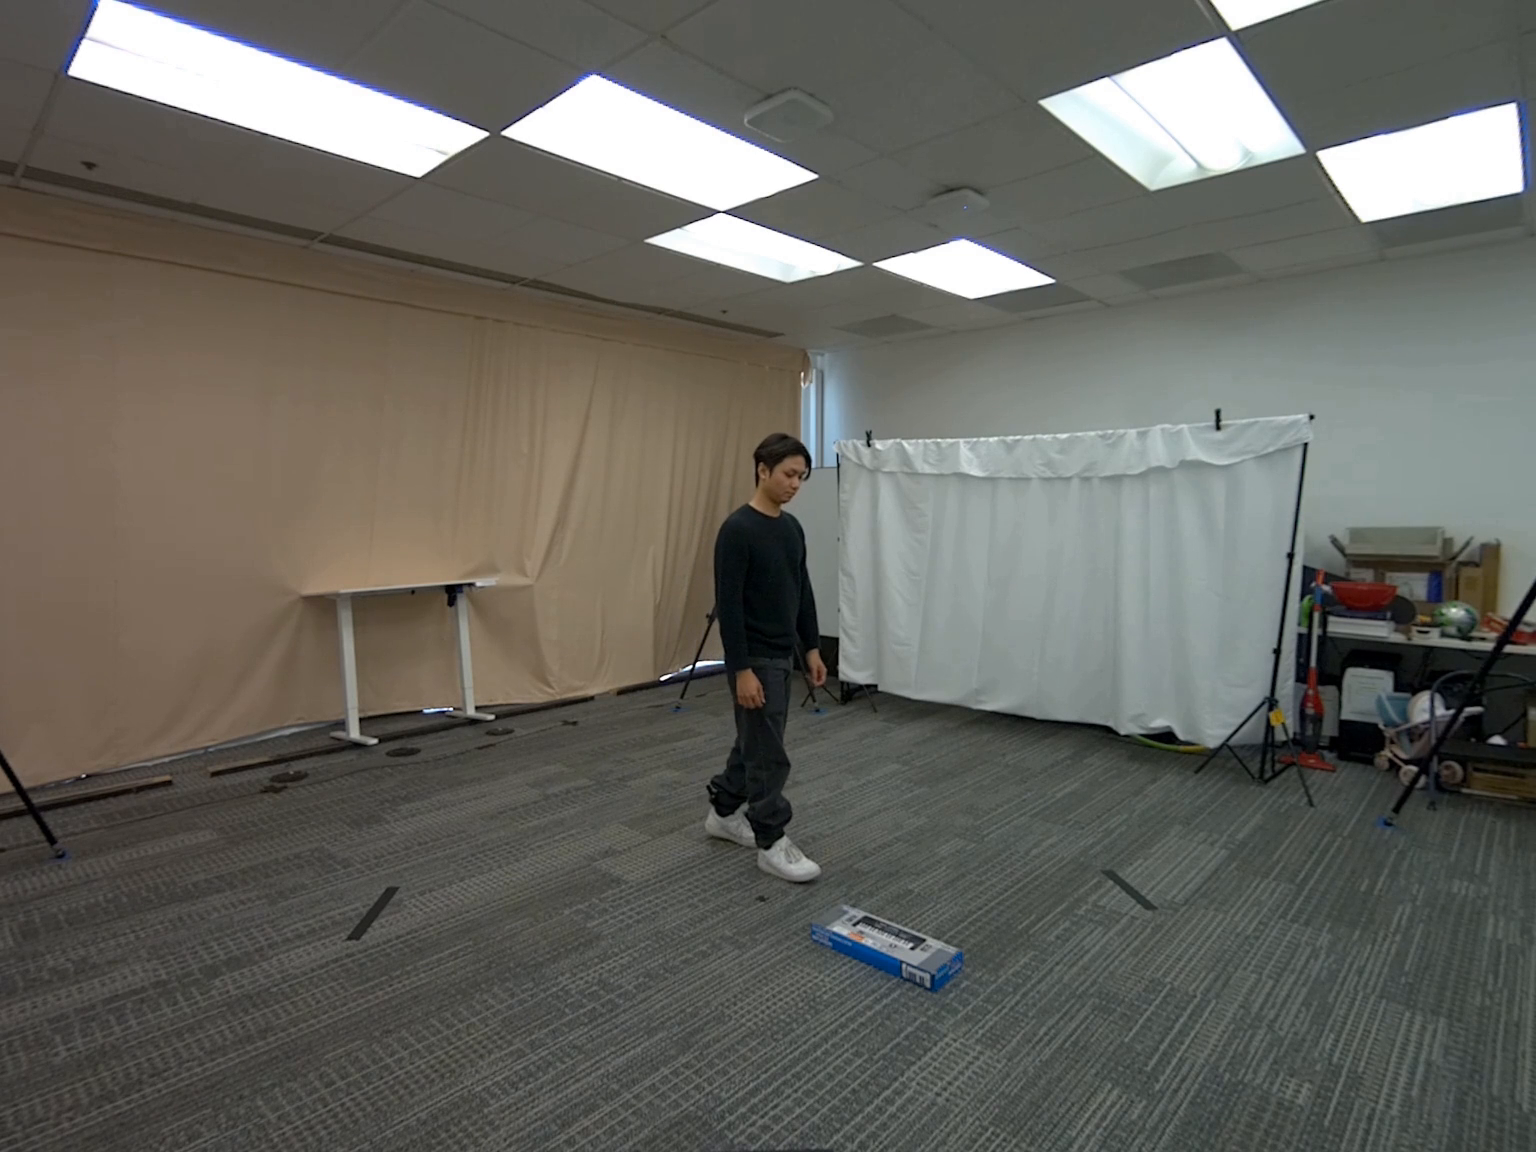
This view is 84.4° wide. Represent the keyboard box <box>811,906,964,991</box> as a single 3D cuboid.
[{"bbox_3d":[0.364,1.144,2.609,0.451,0.059,0.171,4,7,42],"label":"keyboard box"}]
